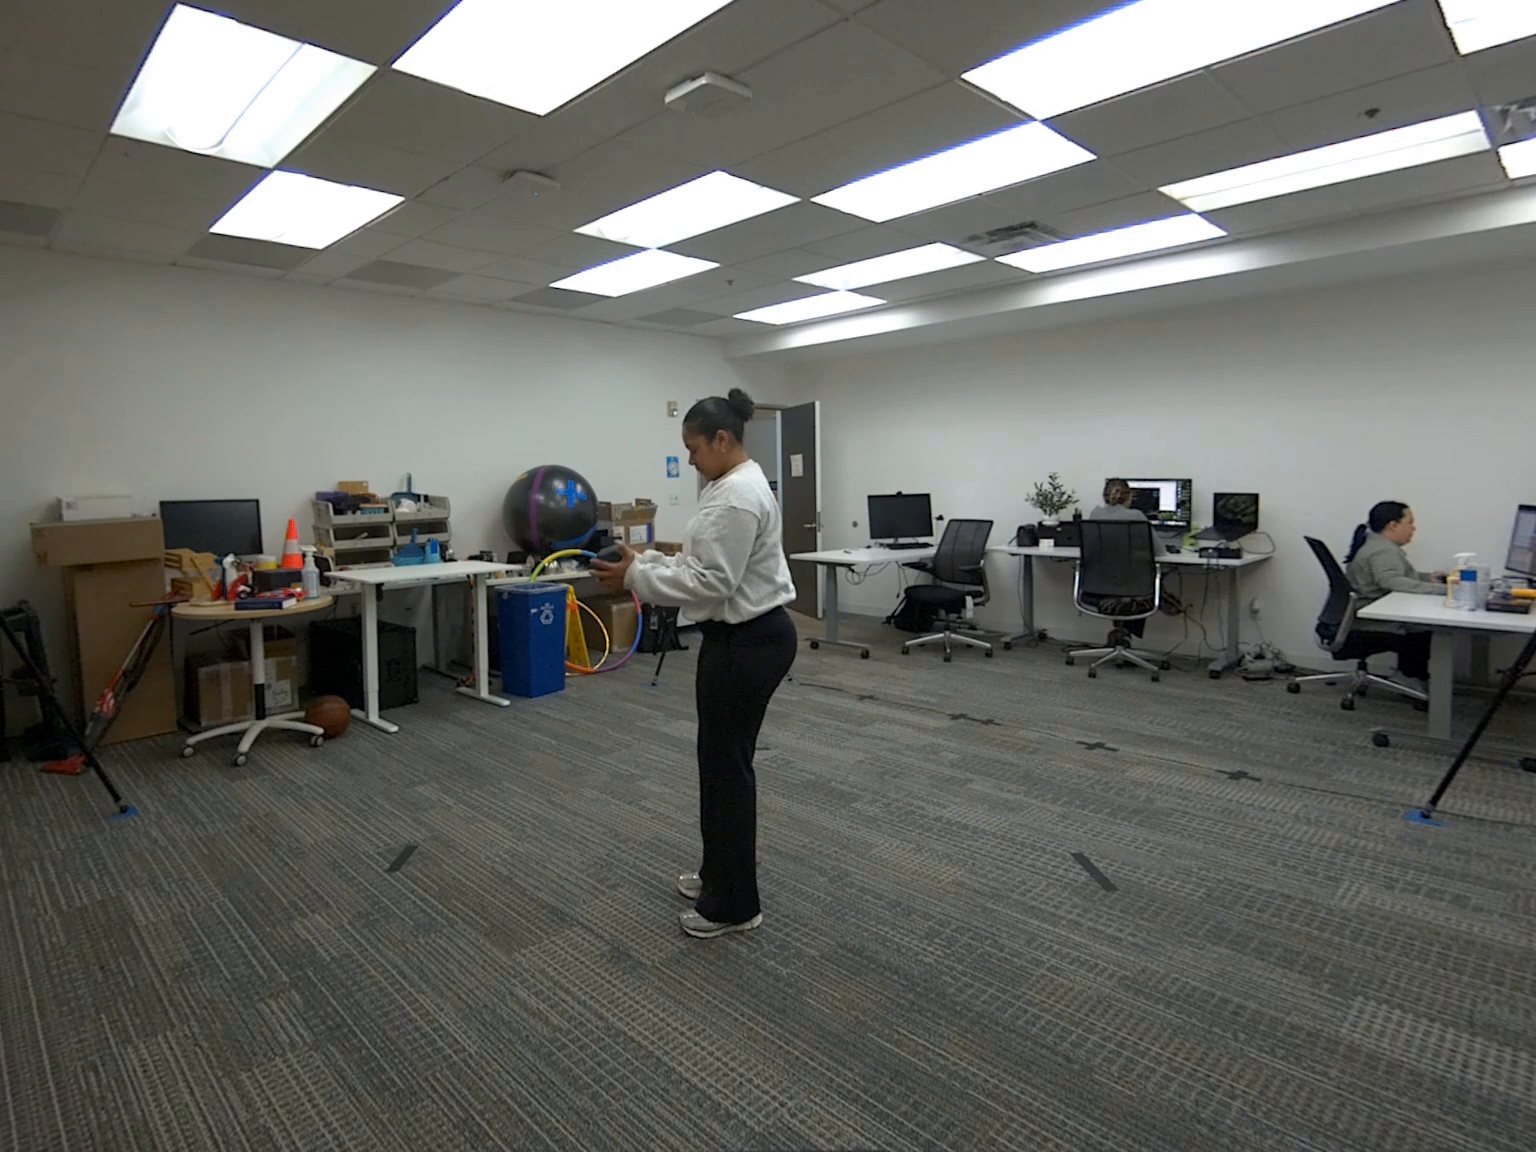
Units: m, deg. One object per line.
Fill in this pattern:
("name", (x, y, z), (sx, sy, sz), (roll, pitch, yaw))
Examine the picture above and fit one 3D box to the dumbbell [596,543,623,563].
("dumbbell", (-0.455, -0.033, 2.685), (0.123, 0.108, 0.295), (-20, 5, -3))
